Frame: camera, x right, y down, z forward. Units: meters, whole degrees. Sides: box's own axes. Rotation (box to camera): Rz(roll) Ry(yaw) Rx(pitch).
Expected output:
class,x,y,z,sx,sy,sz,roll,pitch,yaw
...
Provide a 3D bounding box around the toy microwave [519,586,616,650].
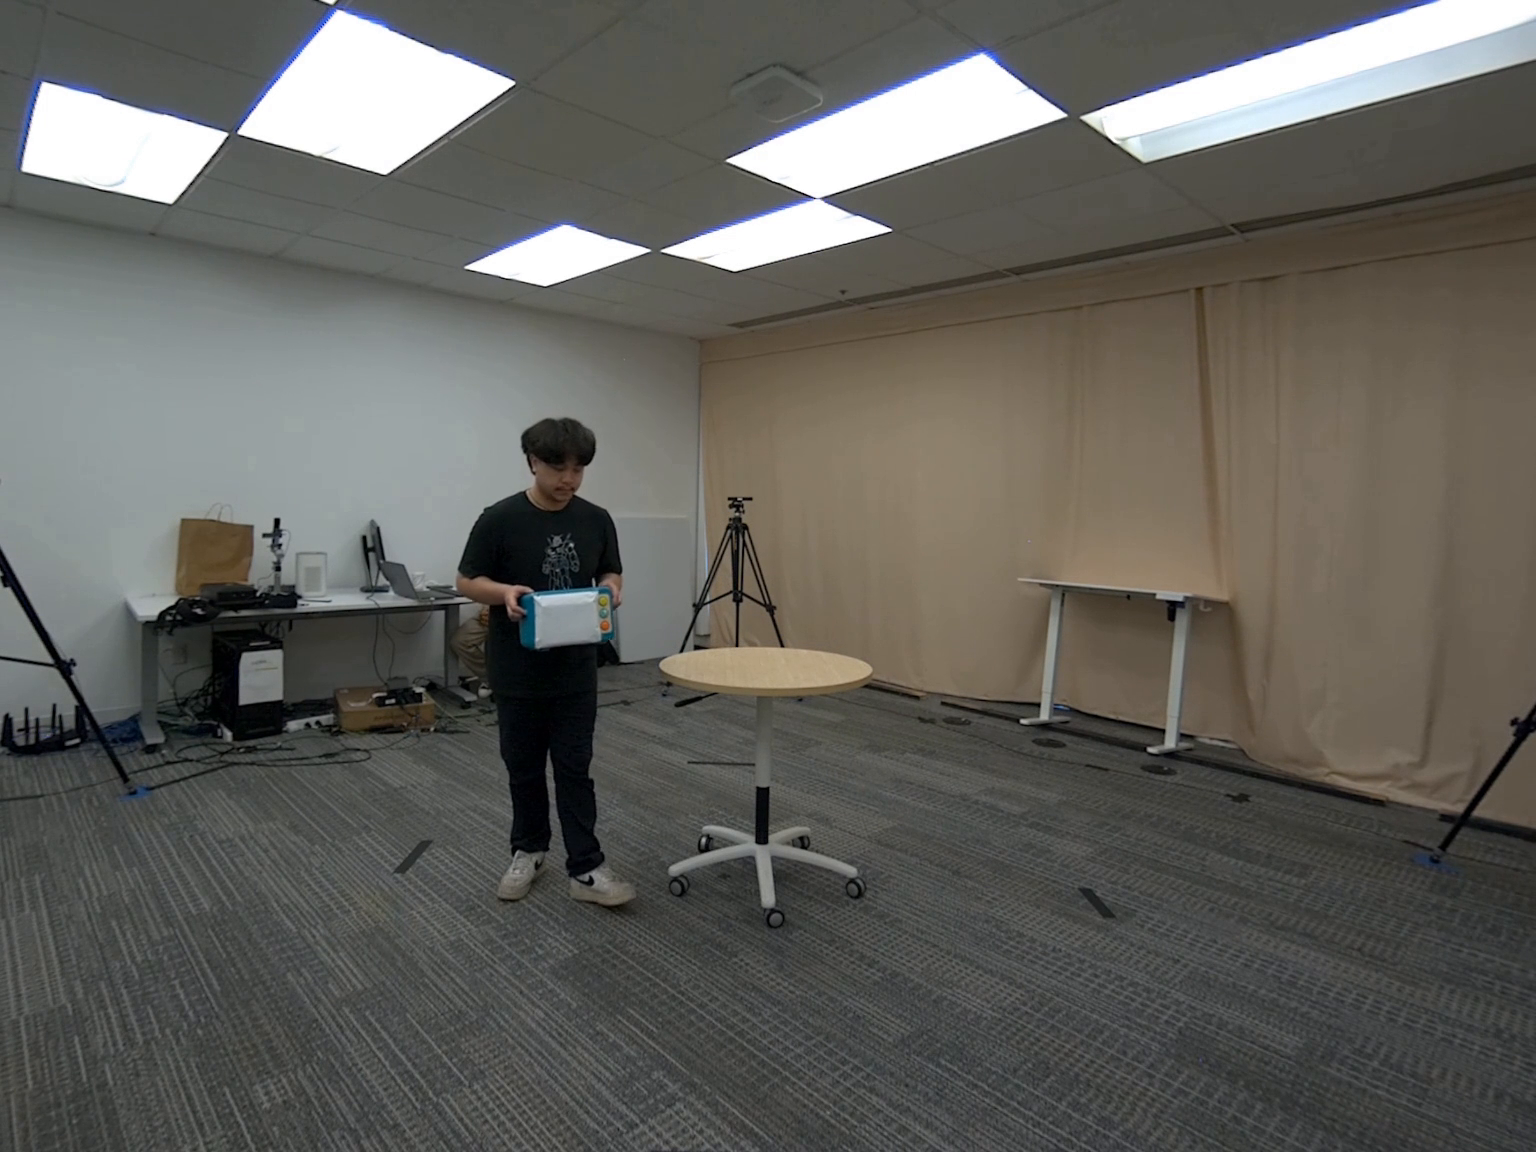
class,x,y,z,sx,sy,sz,roll,pitch,yaw
toy microwave,-0.650,0.131,2.707,0.281,0.184,0.155,-5,0,-29
